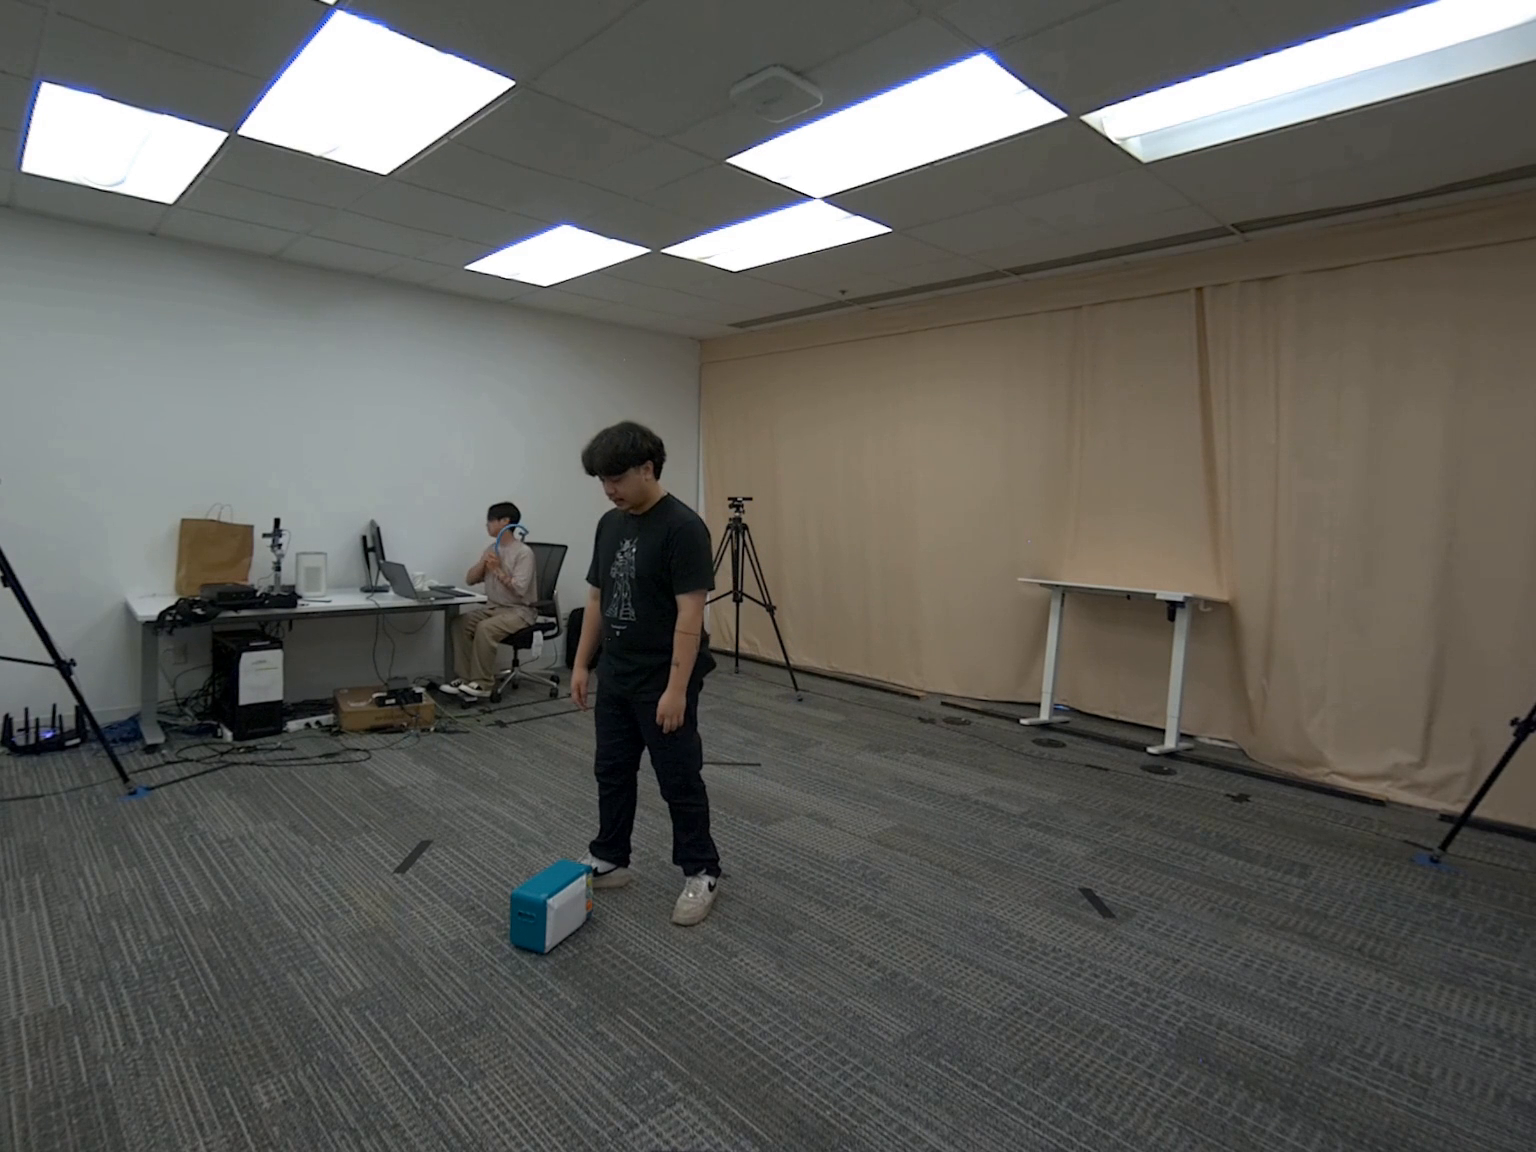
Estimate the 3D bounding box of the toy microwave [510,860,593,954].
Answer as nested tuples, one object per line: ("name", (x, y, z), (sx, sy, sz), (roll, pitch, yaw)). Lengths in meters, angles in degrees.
("toy microwave", (-0.678, 1.043, 2.670), (0.155, 0.183, 0.282), (3, 5, 23))
